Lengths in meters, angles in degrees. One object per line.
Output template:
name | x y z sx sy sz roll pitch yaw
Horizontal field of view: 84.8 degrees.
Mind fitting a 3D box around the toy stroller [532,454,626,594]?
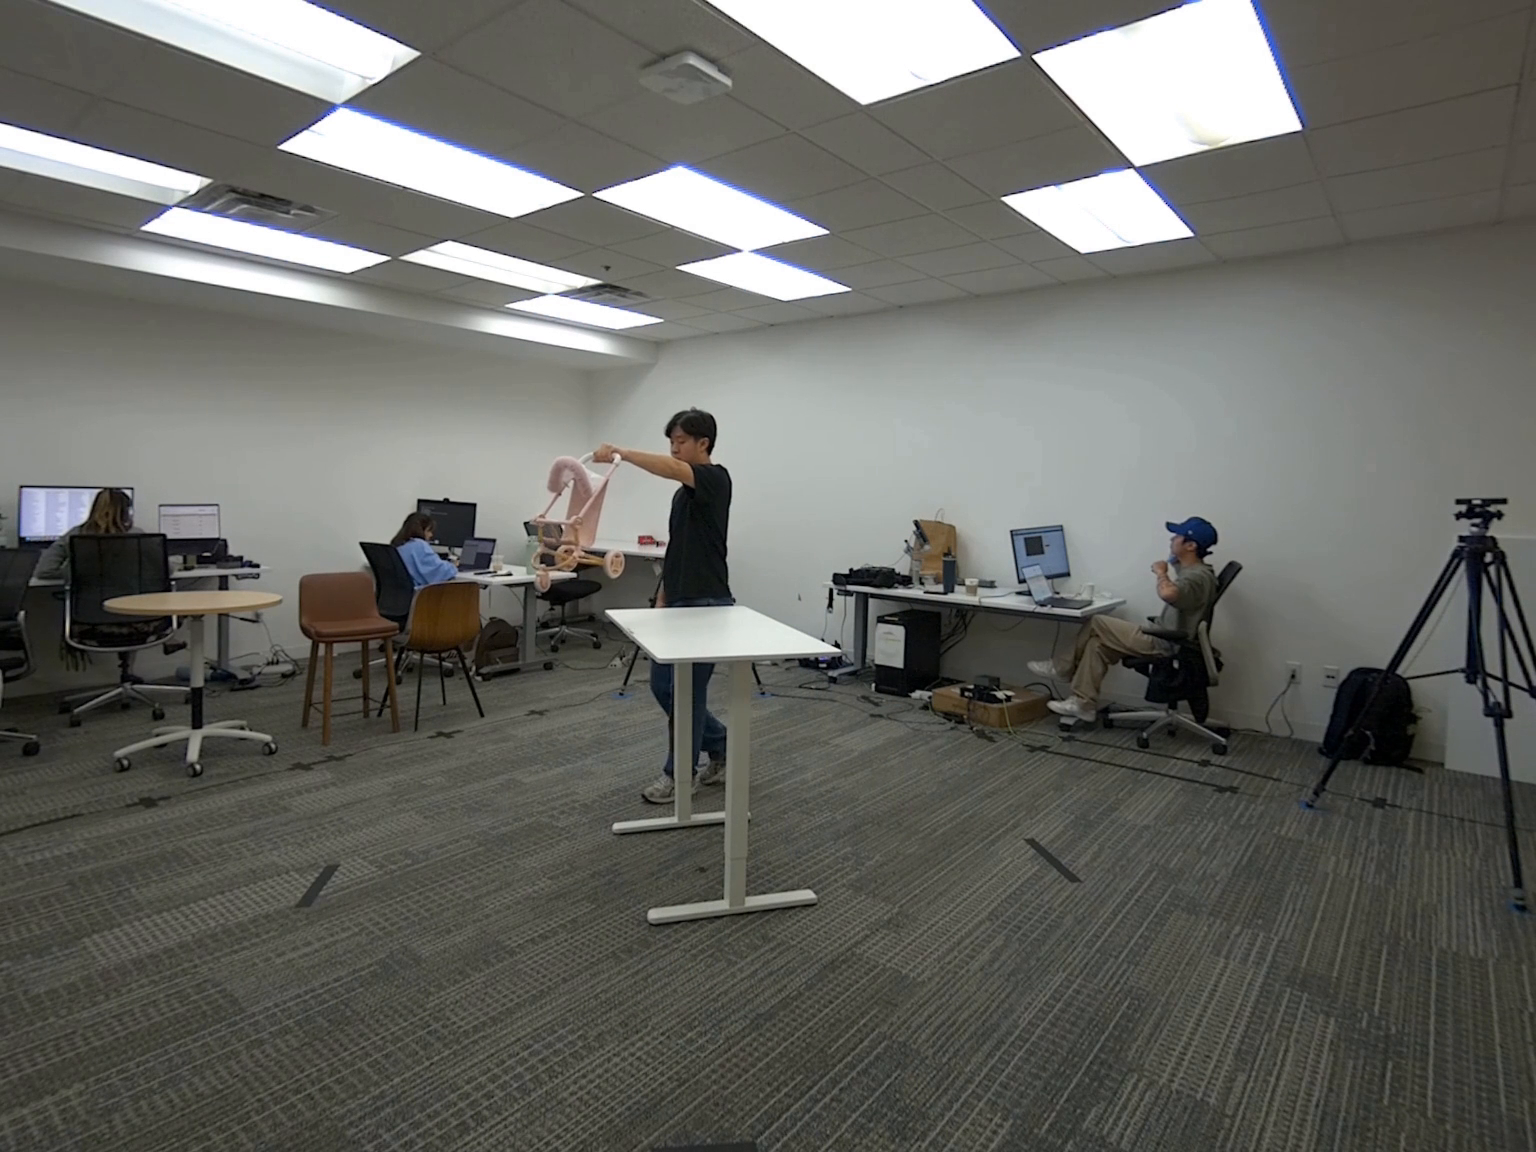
toy stroller | -0.751 -0.212 3.199 0.291 0.534 0.331 5 3 37
